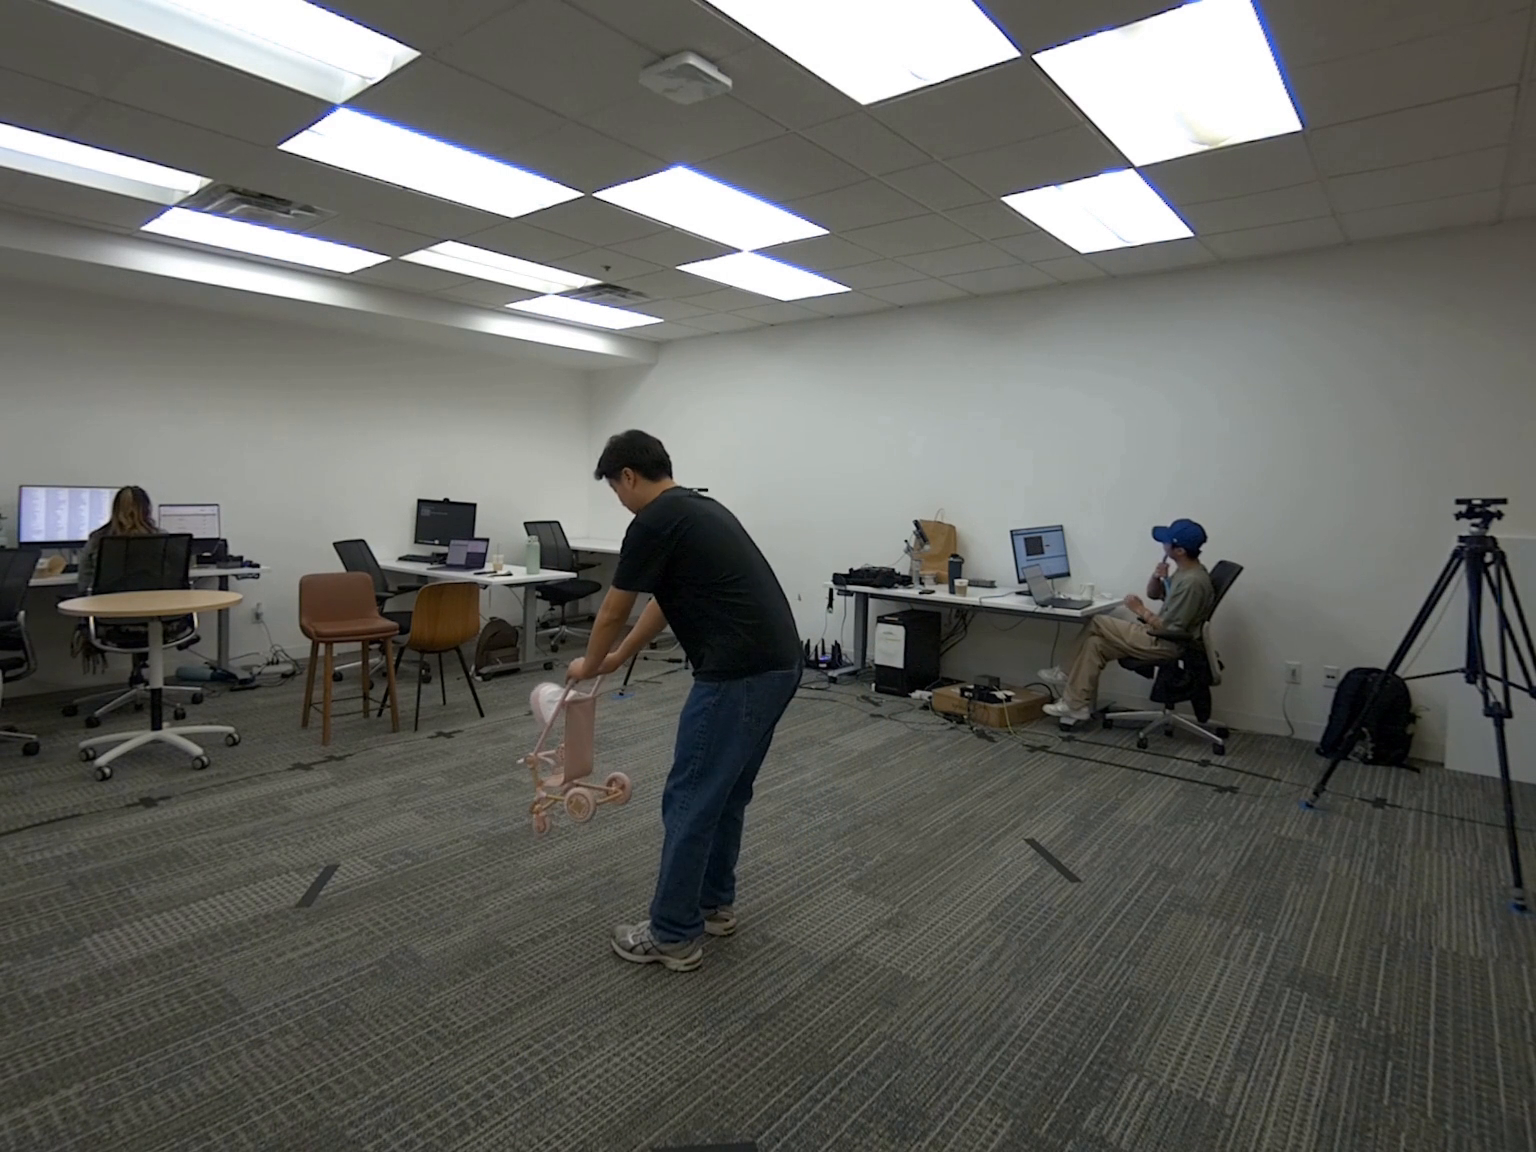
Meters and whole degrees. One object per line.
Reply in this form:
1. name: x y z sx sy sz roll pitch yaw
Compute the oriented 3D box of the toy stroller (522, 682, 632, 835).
1. toy stroller: -0.684 0.588 2.837 0.348 0.539 0.274 -12 -7 24
